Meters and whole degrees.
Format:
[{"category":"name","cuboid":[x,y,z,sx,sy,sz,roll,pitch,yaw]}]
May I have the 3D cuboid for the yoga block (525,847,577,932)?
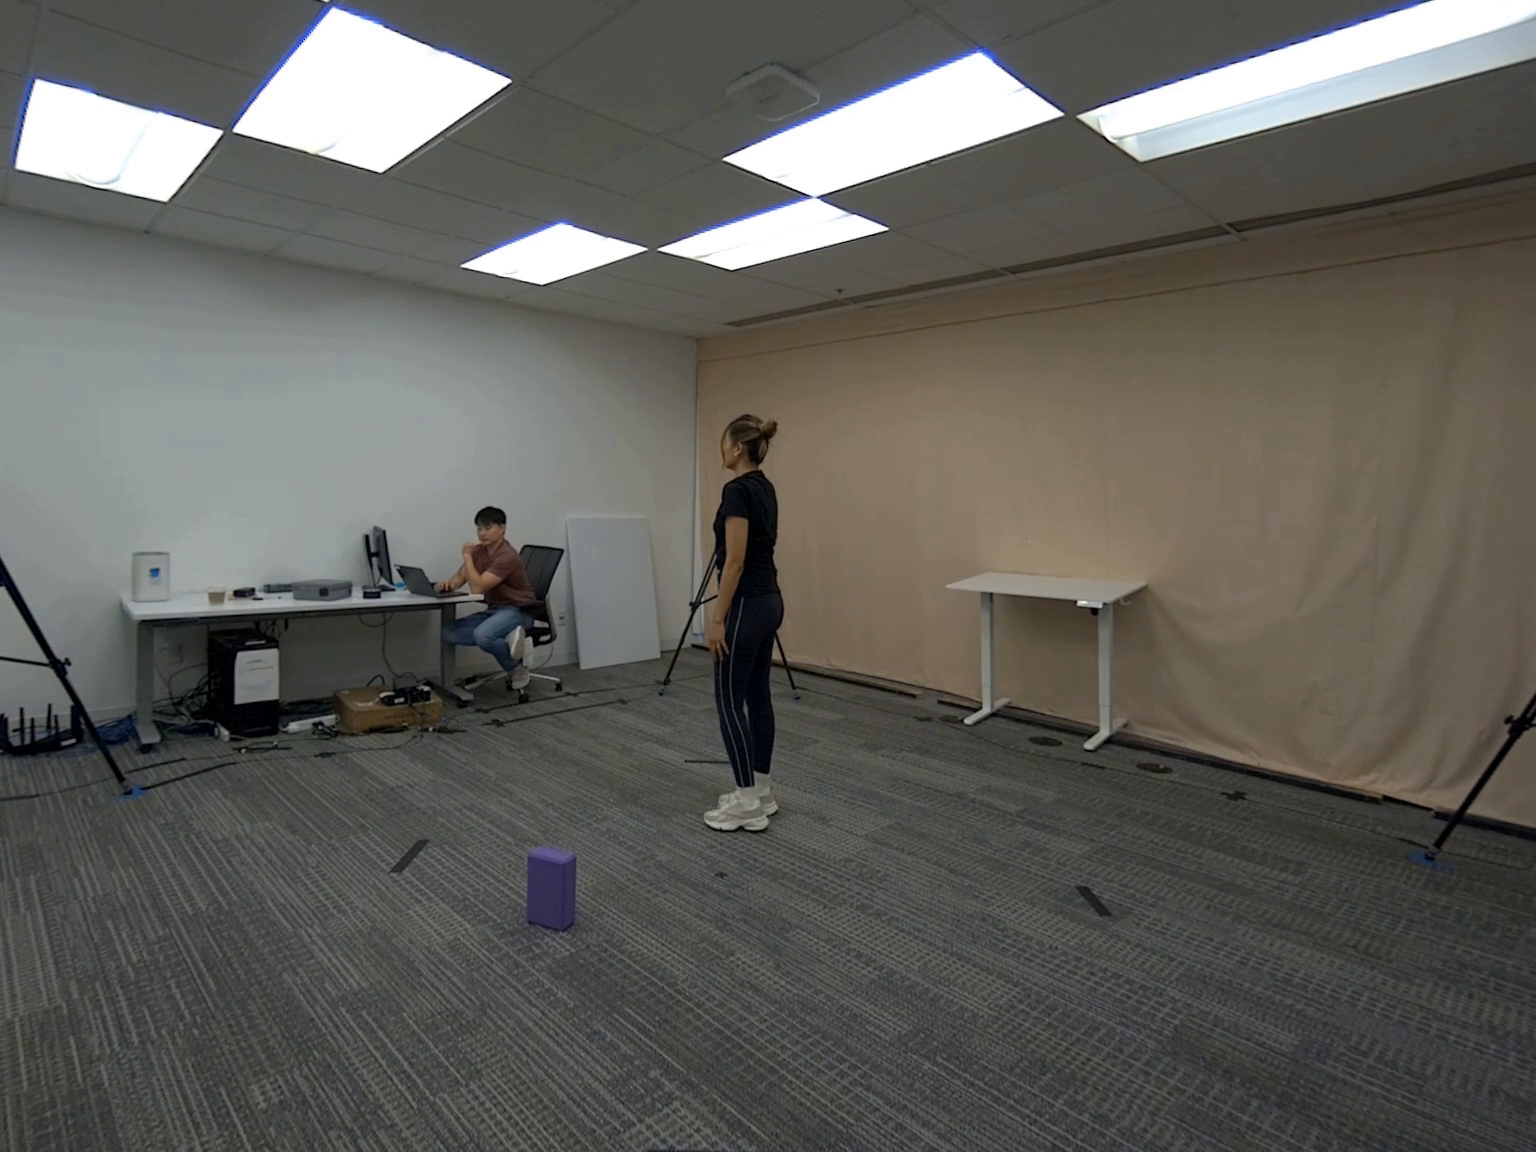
[{"category":"yoga block","cuboid":[-0.713,1.014,2.721,0.152,0.228,0.075,3,5,23]}]
